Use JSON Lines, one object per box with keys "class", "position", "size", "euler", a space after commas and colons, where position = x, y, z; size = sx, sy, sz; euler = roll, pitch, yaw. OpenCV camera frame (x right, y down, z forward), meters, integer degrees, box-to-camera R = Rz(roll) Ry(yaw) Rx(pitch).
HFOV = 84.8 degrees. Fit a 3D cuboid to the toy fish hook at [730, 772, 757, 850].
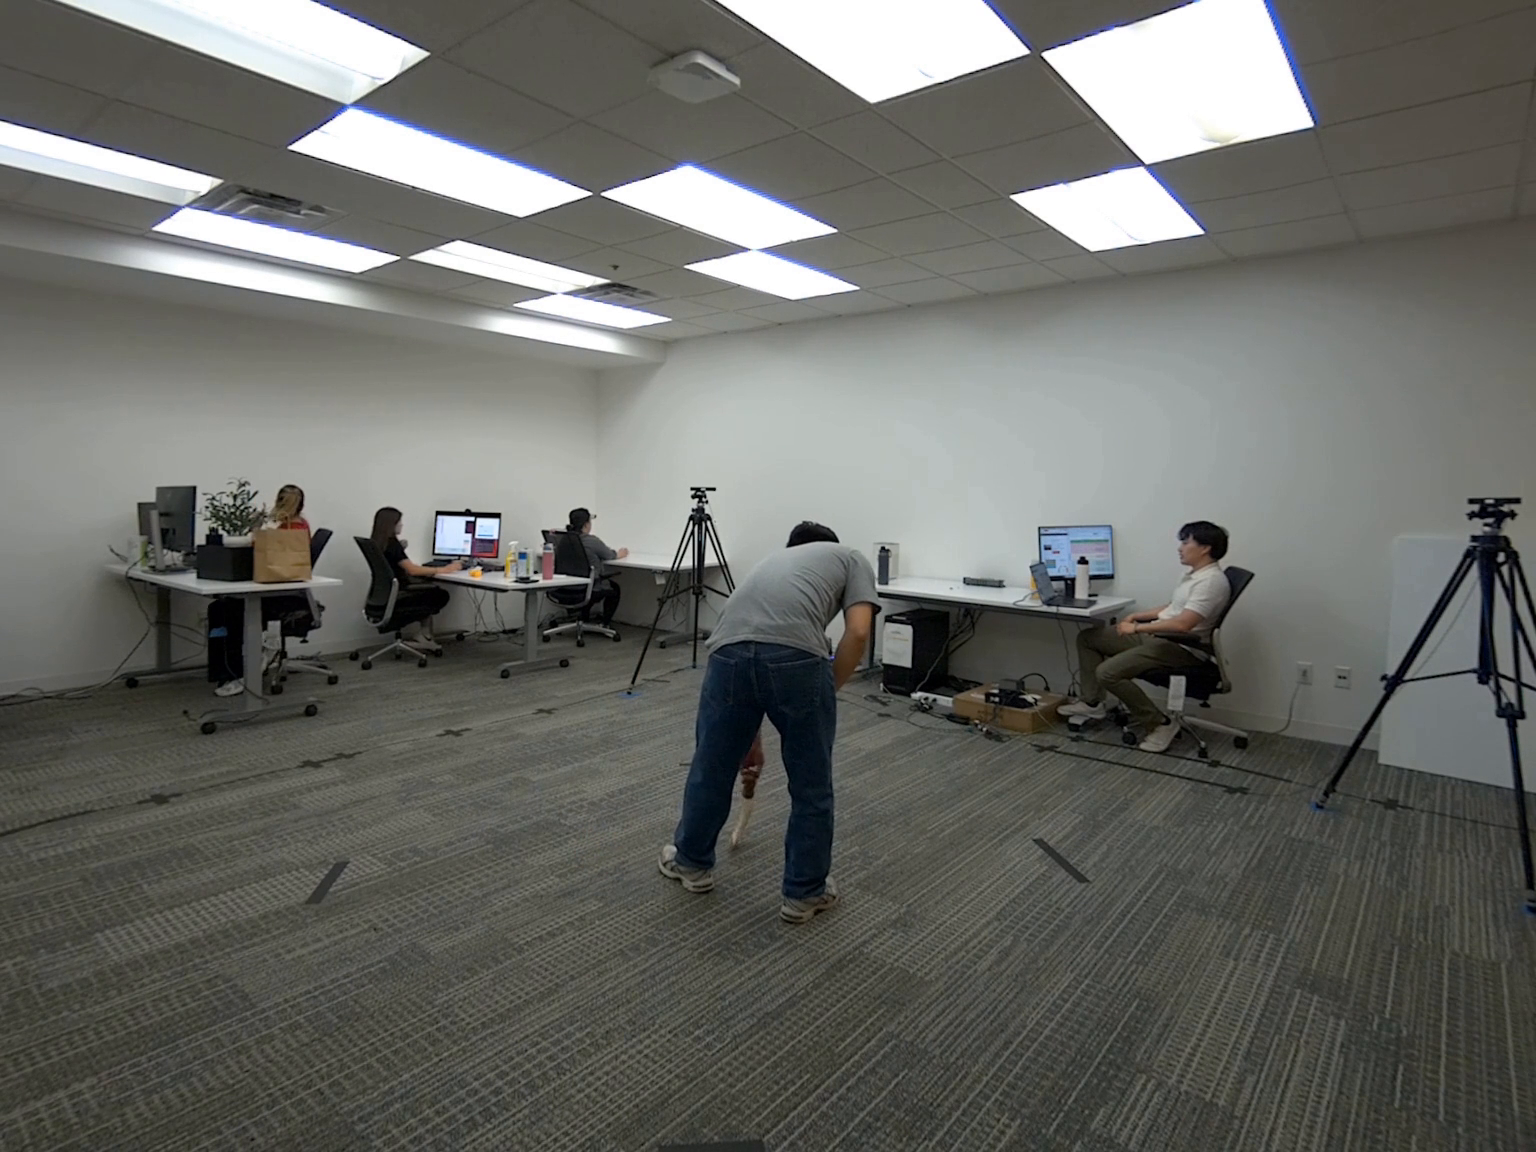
{"class": "toy fish hook", "position": [-0.107, 0.867, 3.159], "size": [0.049, 0.228, 0.493], "euler": [15, -36, 7]}
